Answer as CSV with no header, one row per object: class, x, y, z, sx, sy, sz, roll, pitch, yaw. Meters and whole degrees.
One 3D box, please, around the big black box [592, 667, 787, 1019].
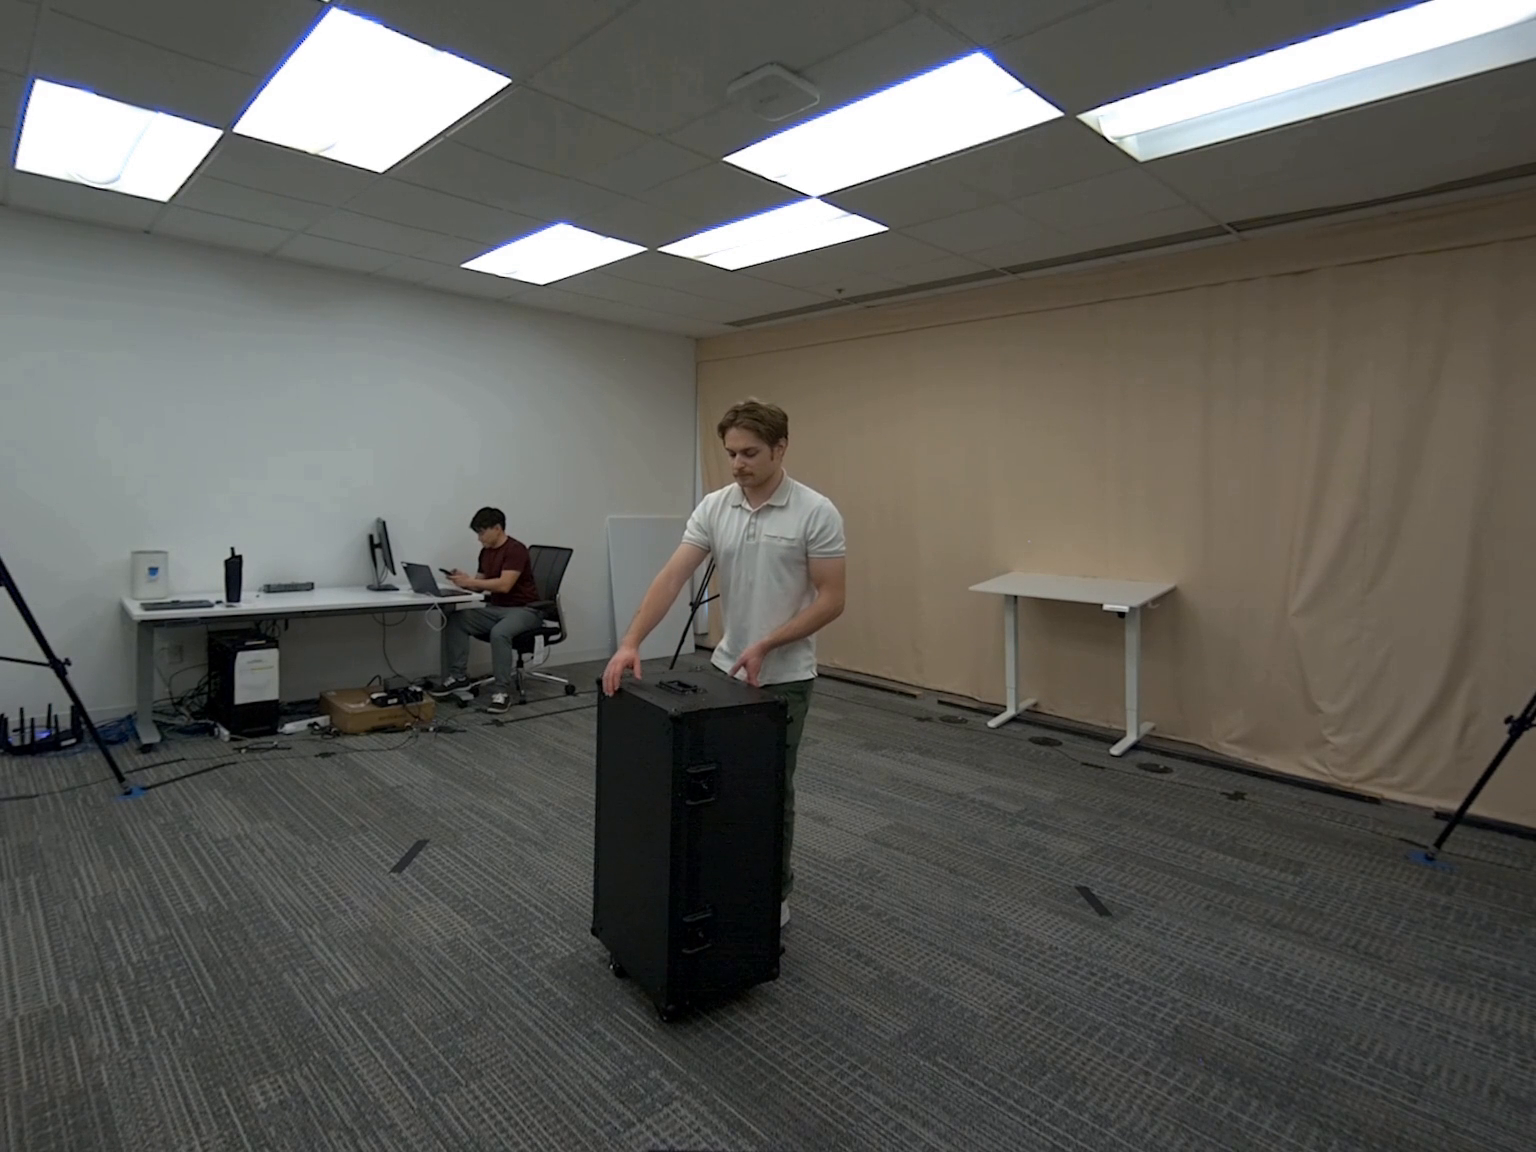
big black box,-0.247,0.747,2.408,0.377,0.867,0.536,0,4,-34
